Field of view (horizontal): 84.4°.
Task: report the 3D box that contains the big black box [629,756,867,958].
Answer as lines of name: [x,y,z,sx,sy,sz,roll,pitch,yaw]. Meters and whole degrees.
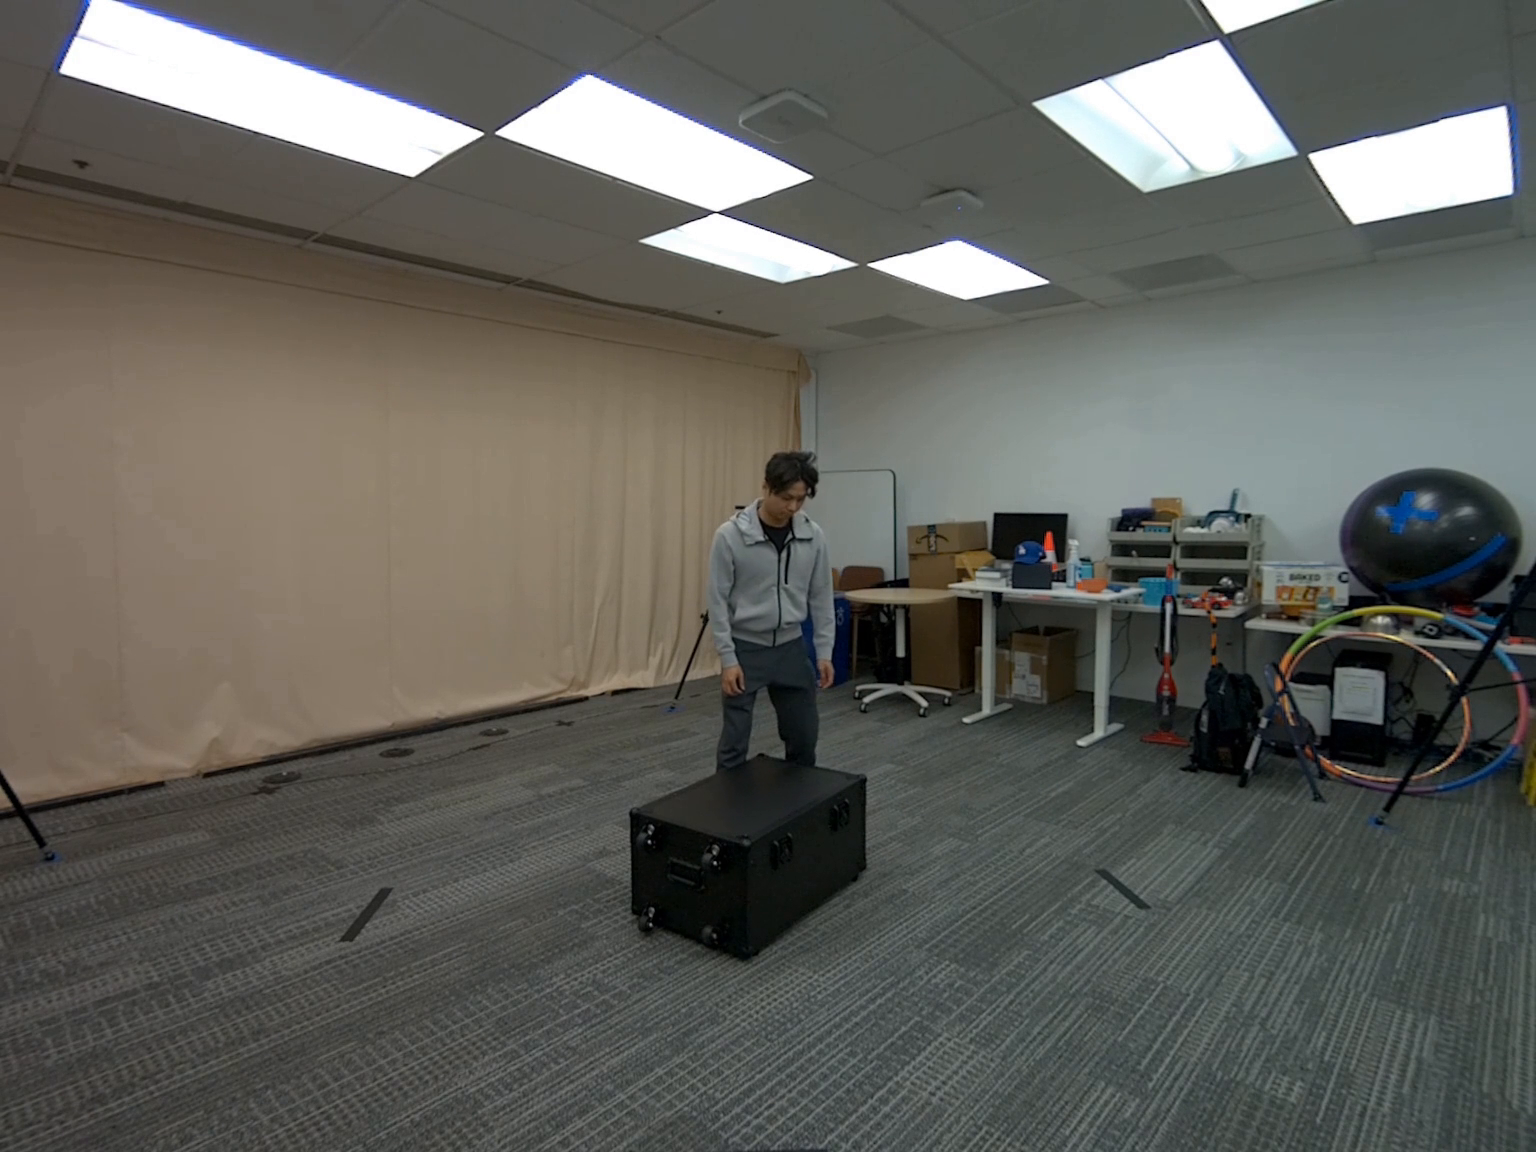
big black box: [-0.063,0.955,2.965,0.538,0.395,0.836,3,5,35]
